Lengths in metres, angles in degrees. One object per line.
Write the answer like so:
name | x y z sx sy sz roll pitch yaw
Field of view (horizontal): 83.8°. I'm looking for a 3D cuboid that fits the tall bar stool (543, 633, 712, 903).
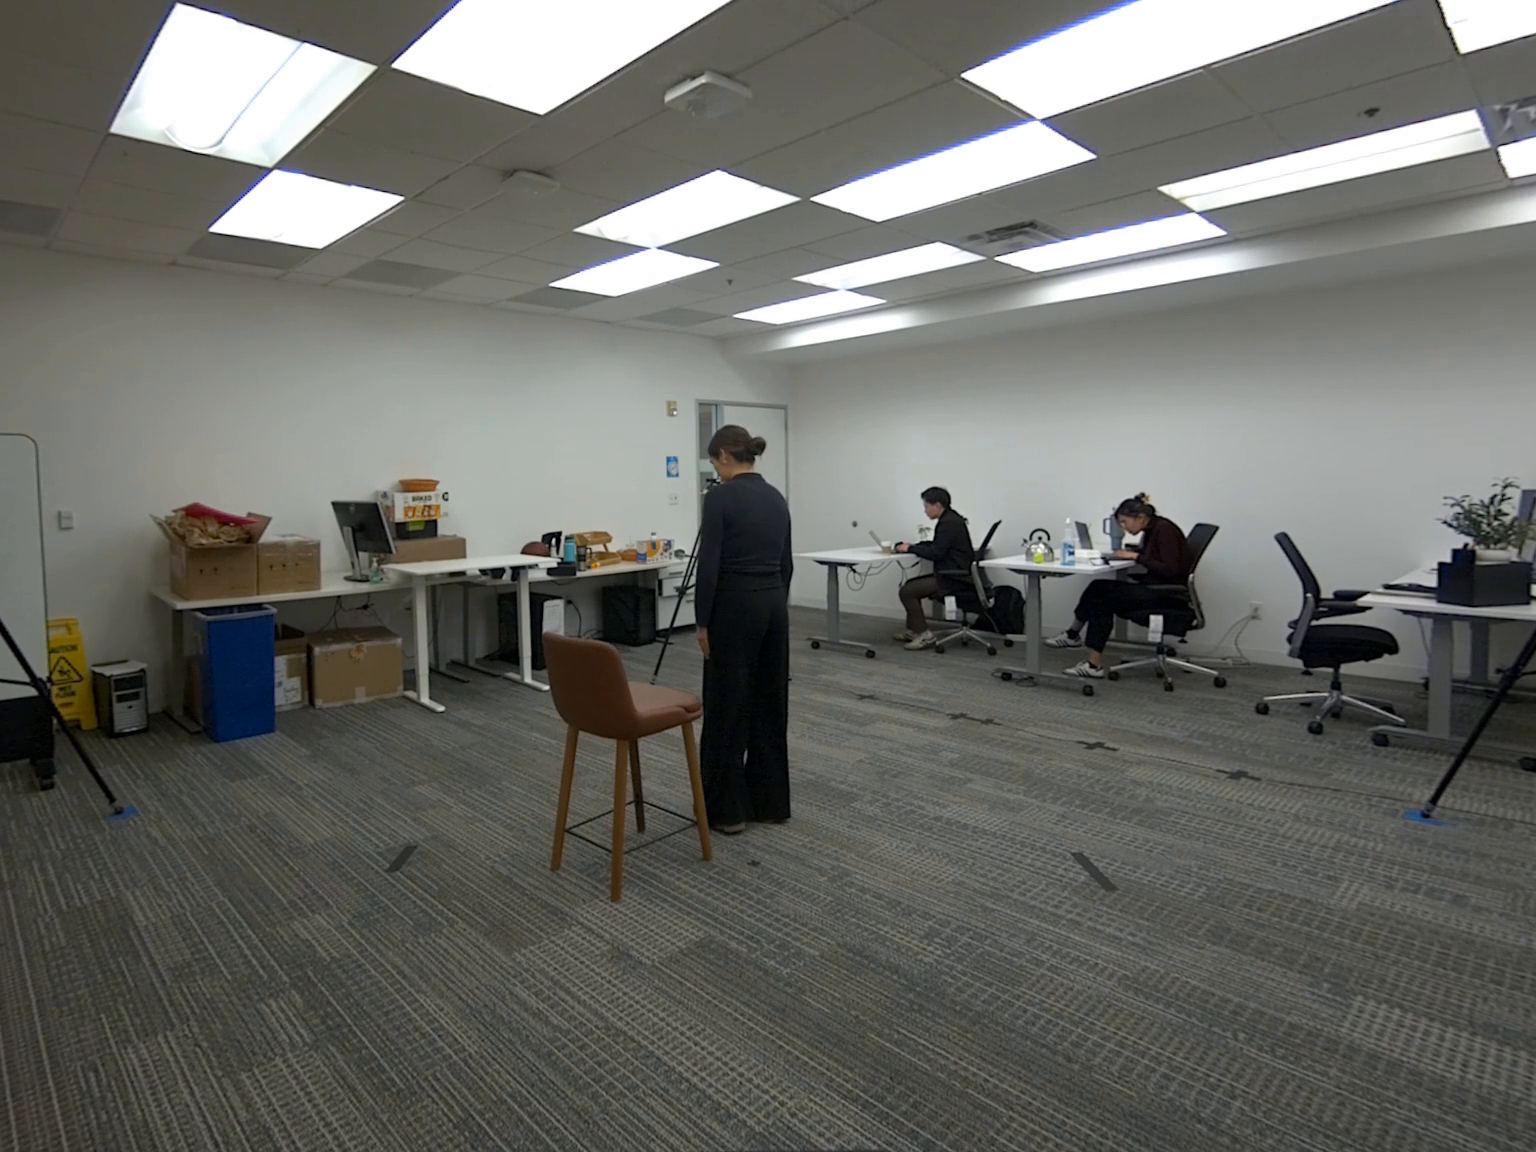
tall bar stool | -0.516 0.619 3.089 0.470 0.885 0.456 3 8 43
